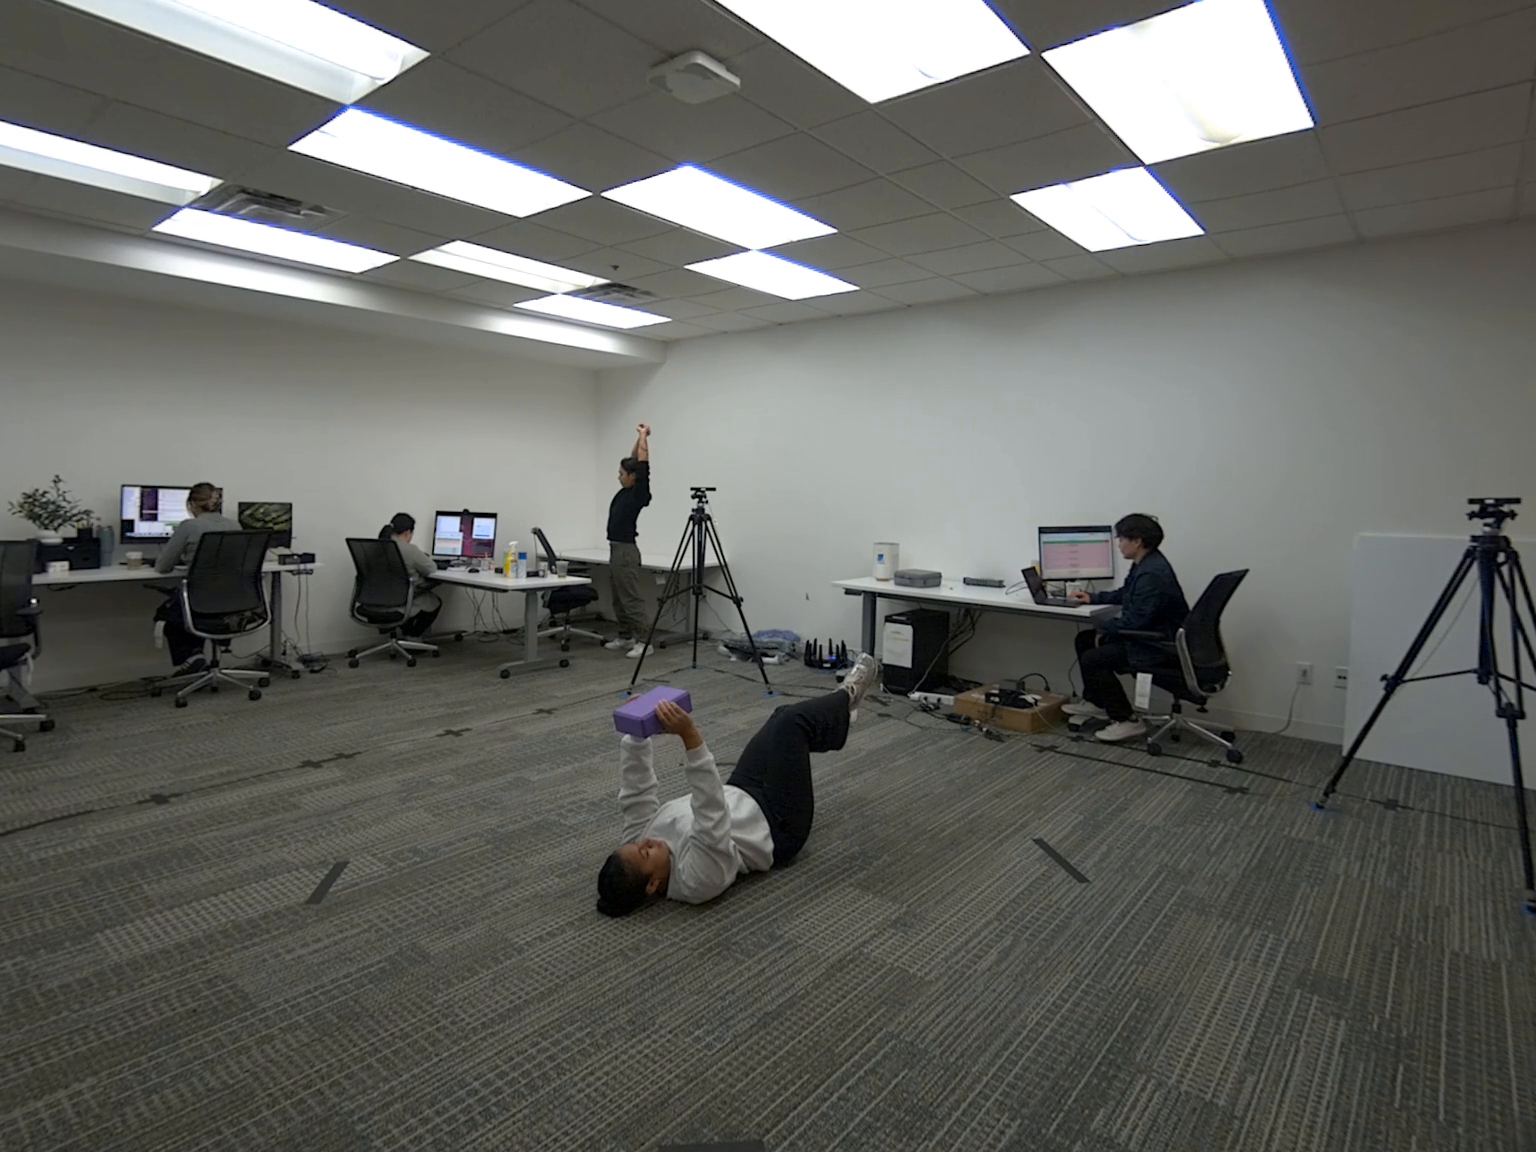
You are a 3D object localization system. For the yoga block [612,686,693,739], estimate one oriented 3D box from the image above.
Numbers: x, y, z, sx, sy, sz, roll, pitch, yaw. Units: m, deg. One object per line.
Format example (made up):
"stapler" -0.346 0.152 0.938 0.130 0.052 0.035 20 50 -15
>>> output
"yoga block" -0.394 0.447 2.805 0.154 0.075 0.225 2 17 39
